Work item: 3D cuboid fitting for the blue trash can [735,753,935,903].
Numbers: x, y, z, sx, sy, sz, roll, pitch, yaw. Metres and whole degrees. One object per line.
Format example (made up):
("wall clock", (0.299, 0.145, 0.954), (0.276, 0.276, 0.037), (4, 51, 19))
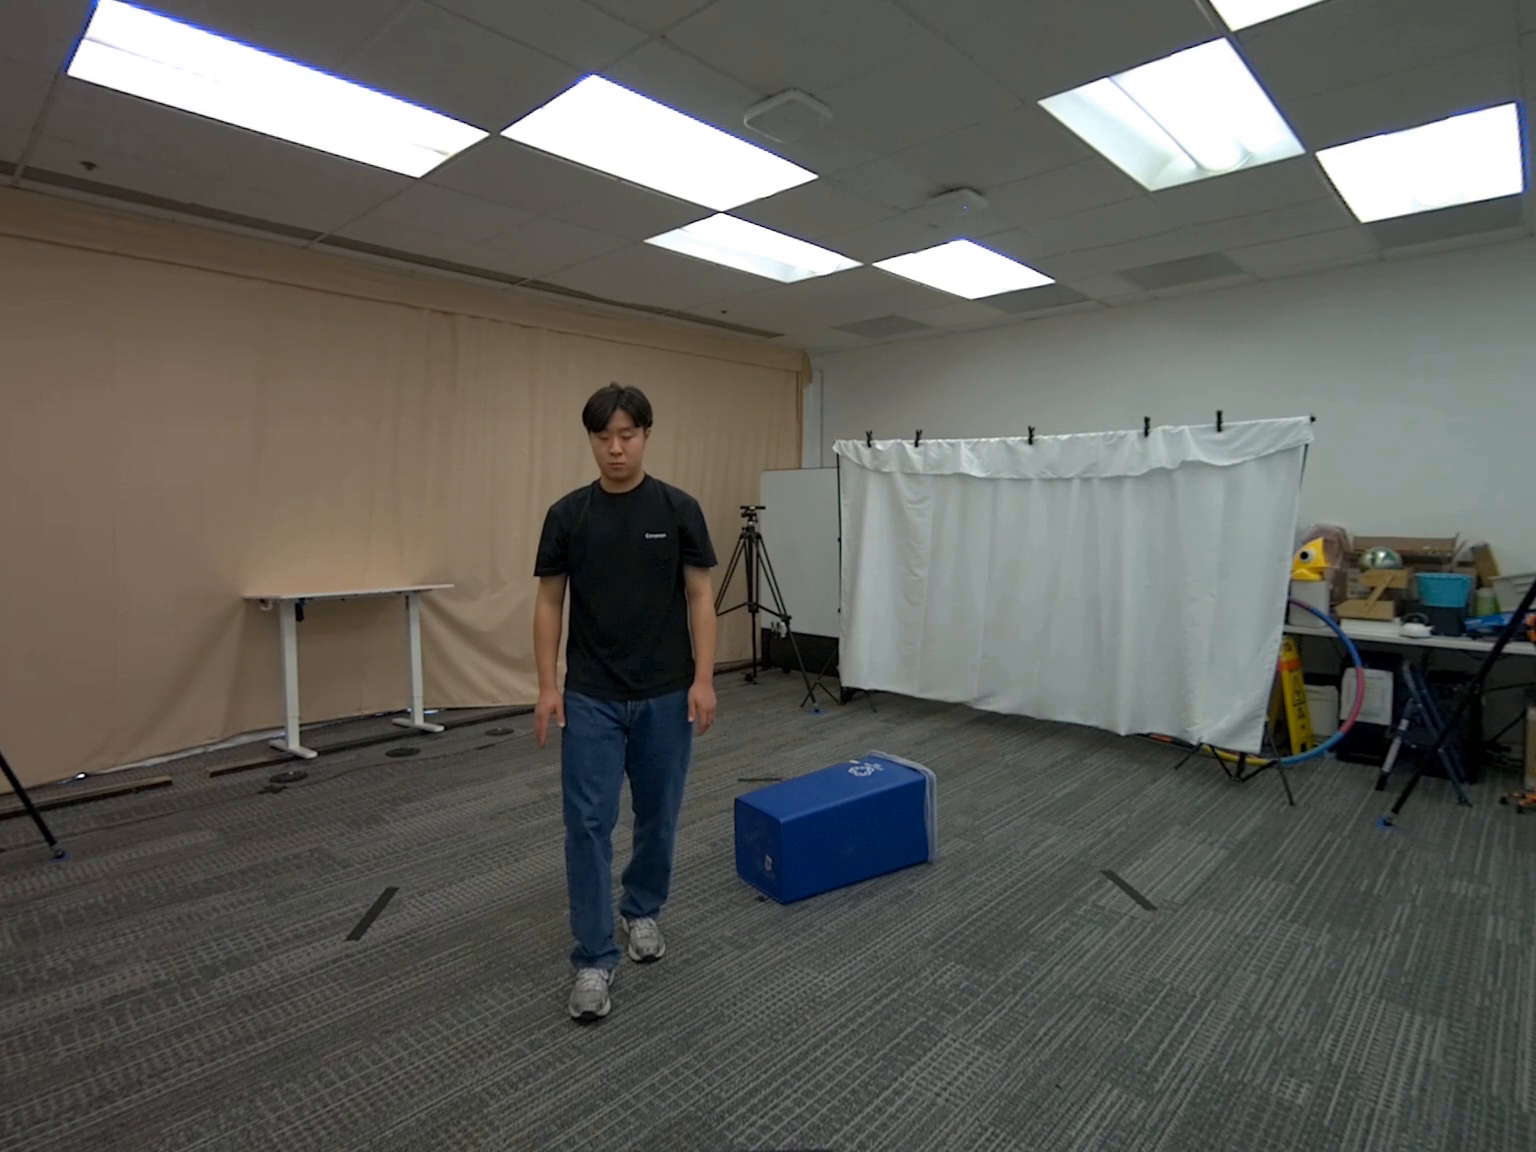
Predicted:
("blue trash can", (0.261, 0.956, 3.217), (0.694, 0.377, 0.386), (-7, 7, -33))
